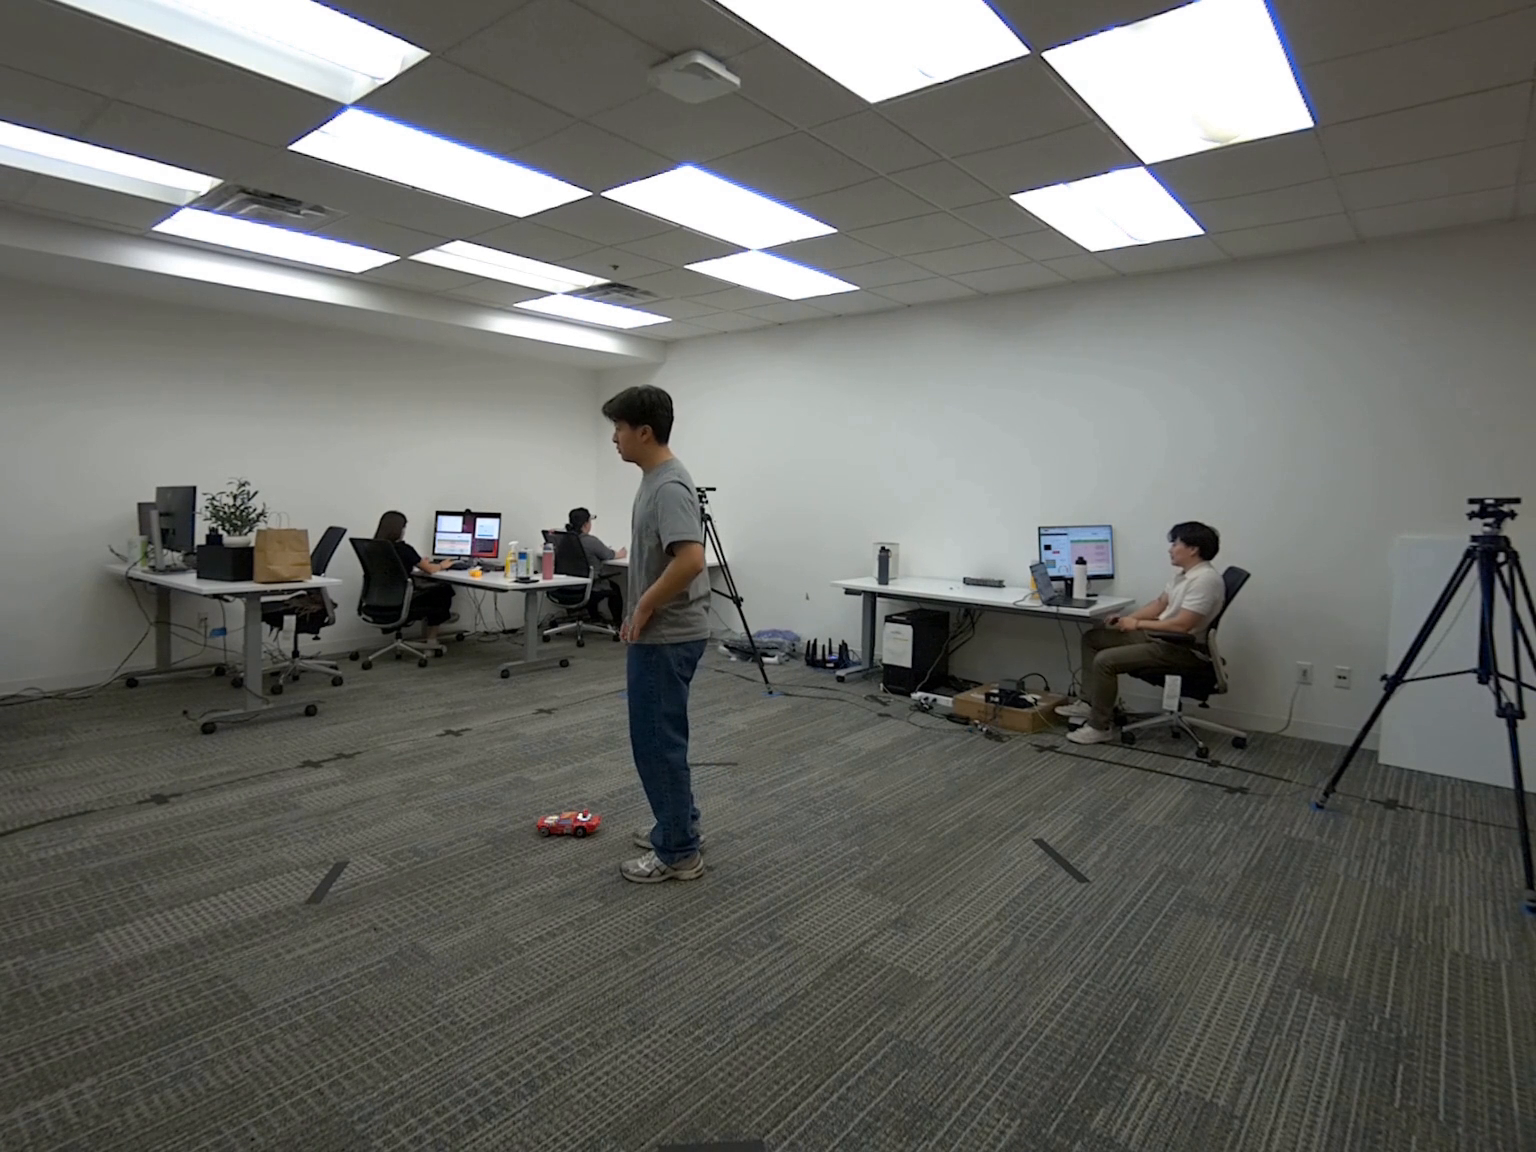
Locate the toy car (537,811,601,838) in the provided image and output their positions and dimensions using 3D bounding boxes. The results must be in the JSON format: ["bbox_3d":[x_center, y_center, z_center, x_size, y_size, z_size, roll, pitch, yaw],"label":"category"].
[{"bbox_3d":[-0.811,0.997,3.413,0.255,0.083,0.131,-10,4,1],"label":"toy car"}]
